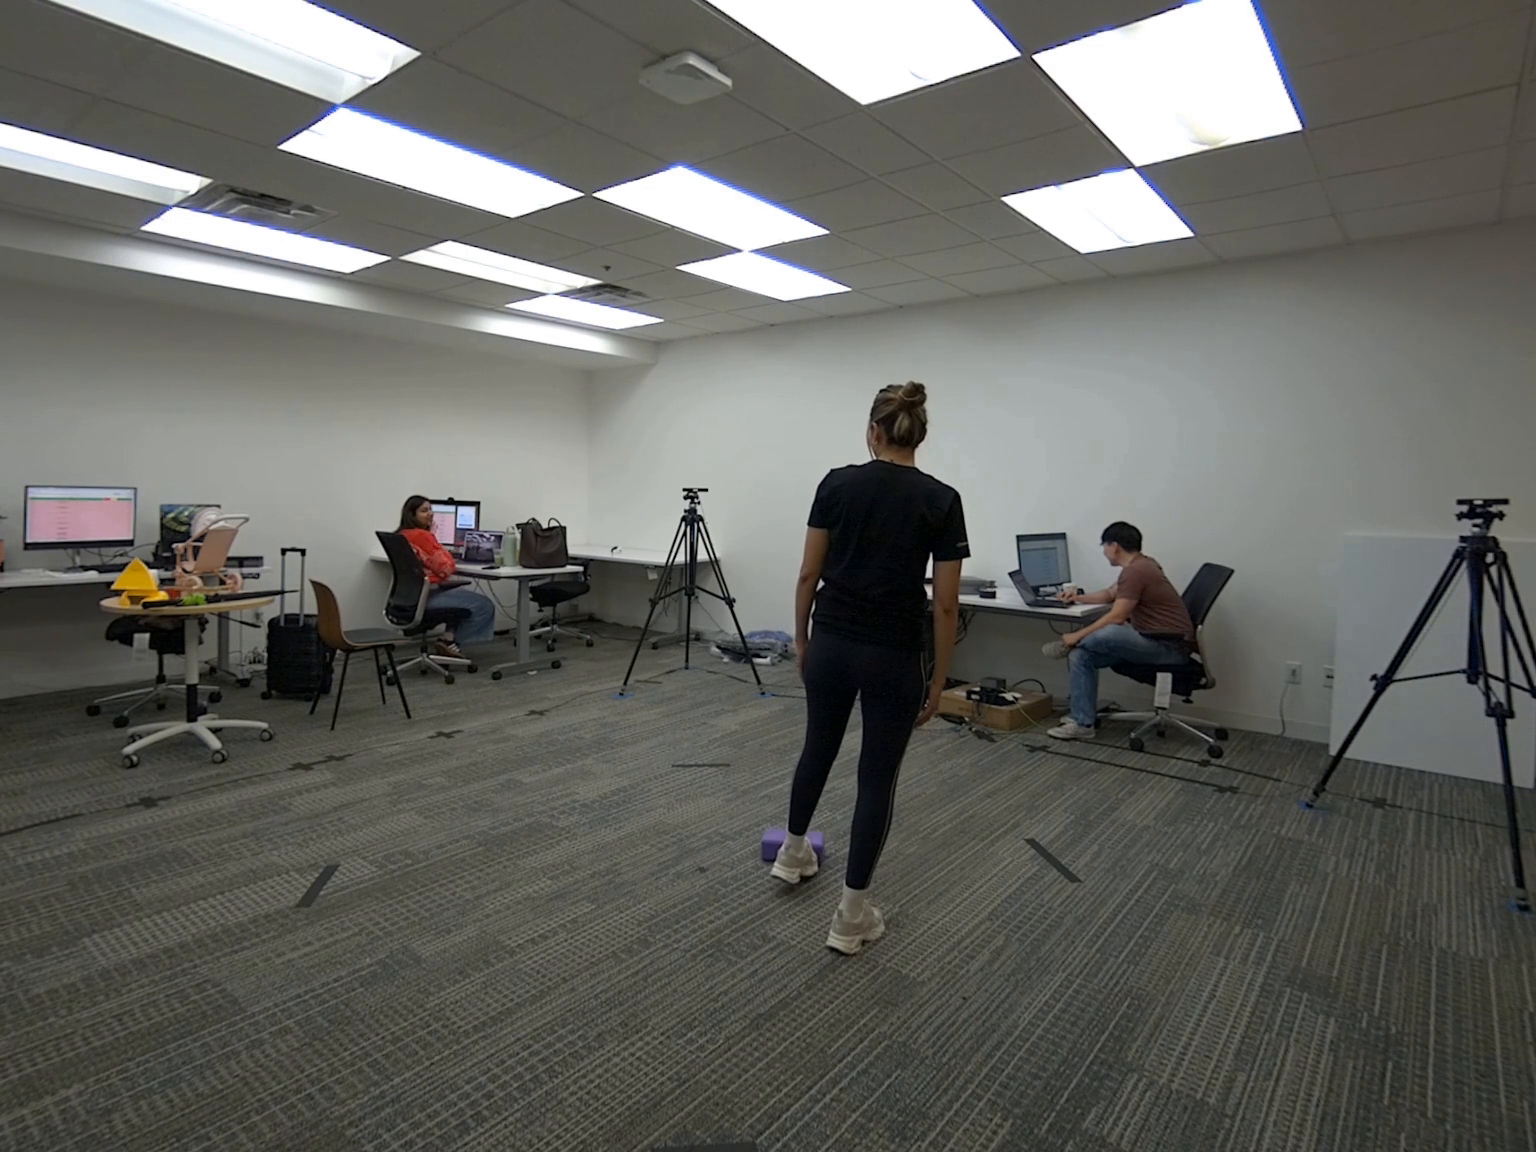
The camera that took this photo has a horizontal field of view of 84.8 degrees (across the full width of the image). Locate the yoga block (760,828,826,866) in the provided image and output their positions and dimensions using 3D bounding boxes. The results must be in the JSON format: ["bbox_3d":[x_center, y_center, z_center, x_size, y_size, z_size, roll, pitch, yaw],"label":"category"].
[{"bbox_3d":[0.093,1.021,3.234,0.232,0.076,0.148,1,4,10],"label":"yoga block"}]
